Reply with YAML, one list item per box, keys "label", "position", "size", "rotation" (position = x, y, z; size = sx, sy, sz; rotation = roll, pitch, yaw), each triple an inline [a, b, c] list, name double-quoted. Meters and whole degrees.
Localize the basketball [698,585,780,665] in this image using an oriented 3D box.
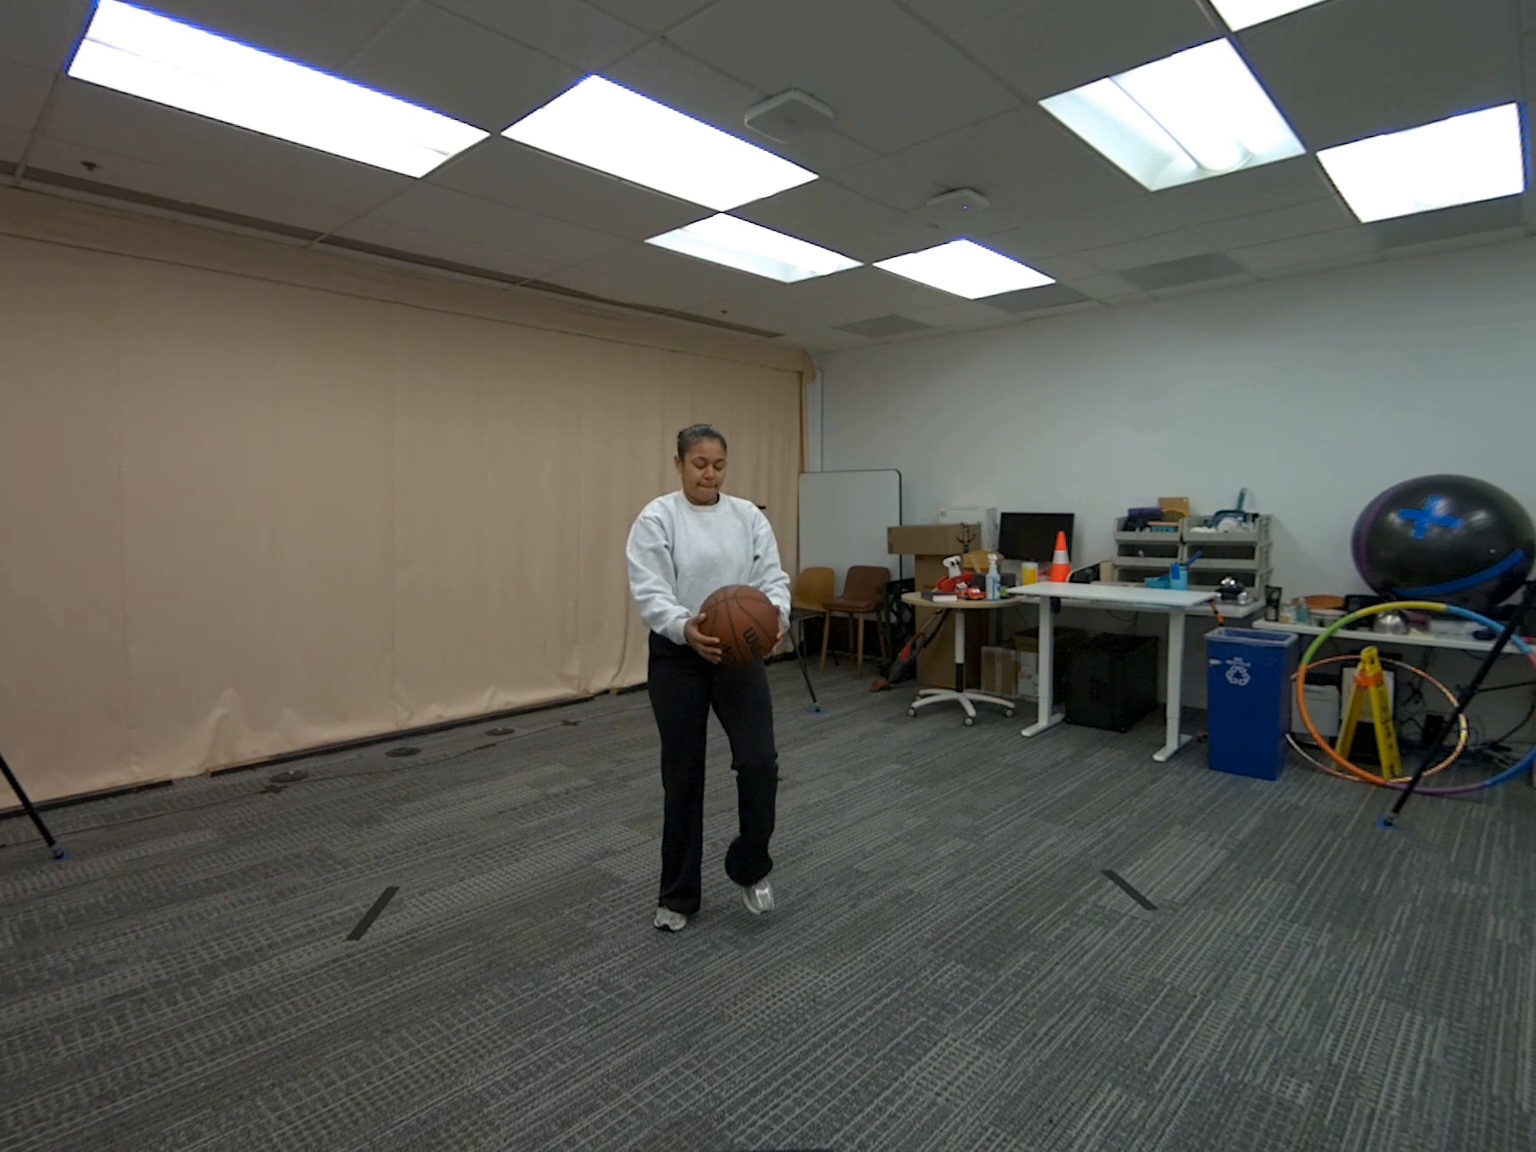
- label: "basketball"
  position: [-0.089, 0.113, 2.446]
  size: [0.236, 0.235, 0.237]
  rotation: [0, 4, -2]
